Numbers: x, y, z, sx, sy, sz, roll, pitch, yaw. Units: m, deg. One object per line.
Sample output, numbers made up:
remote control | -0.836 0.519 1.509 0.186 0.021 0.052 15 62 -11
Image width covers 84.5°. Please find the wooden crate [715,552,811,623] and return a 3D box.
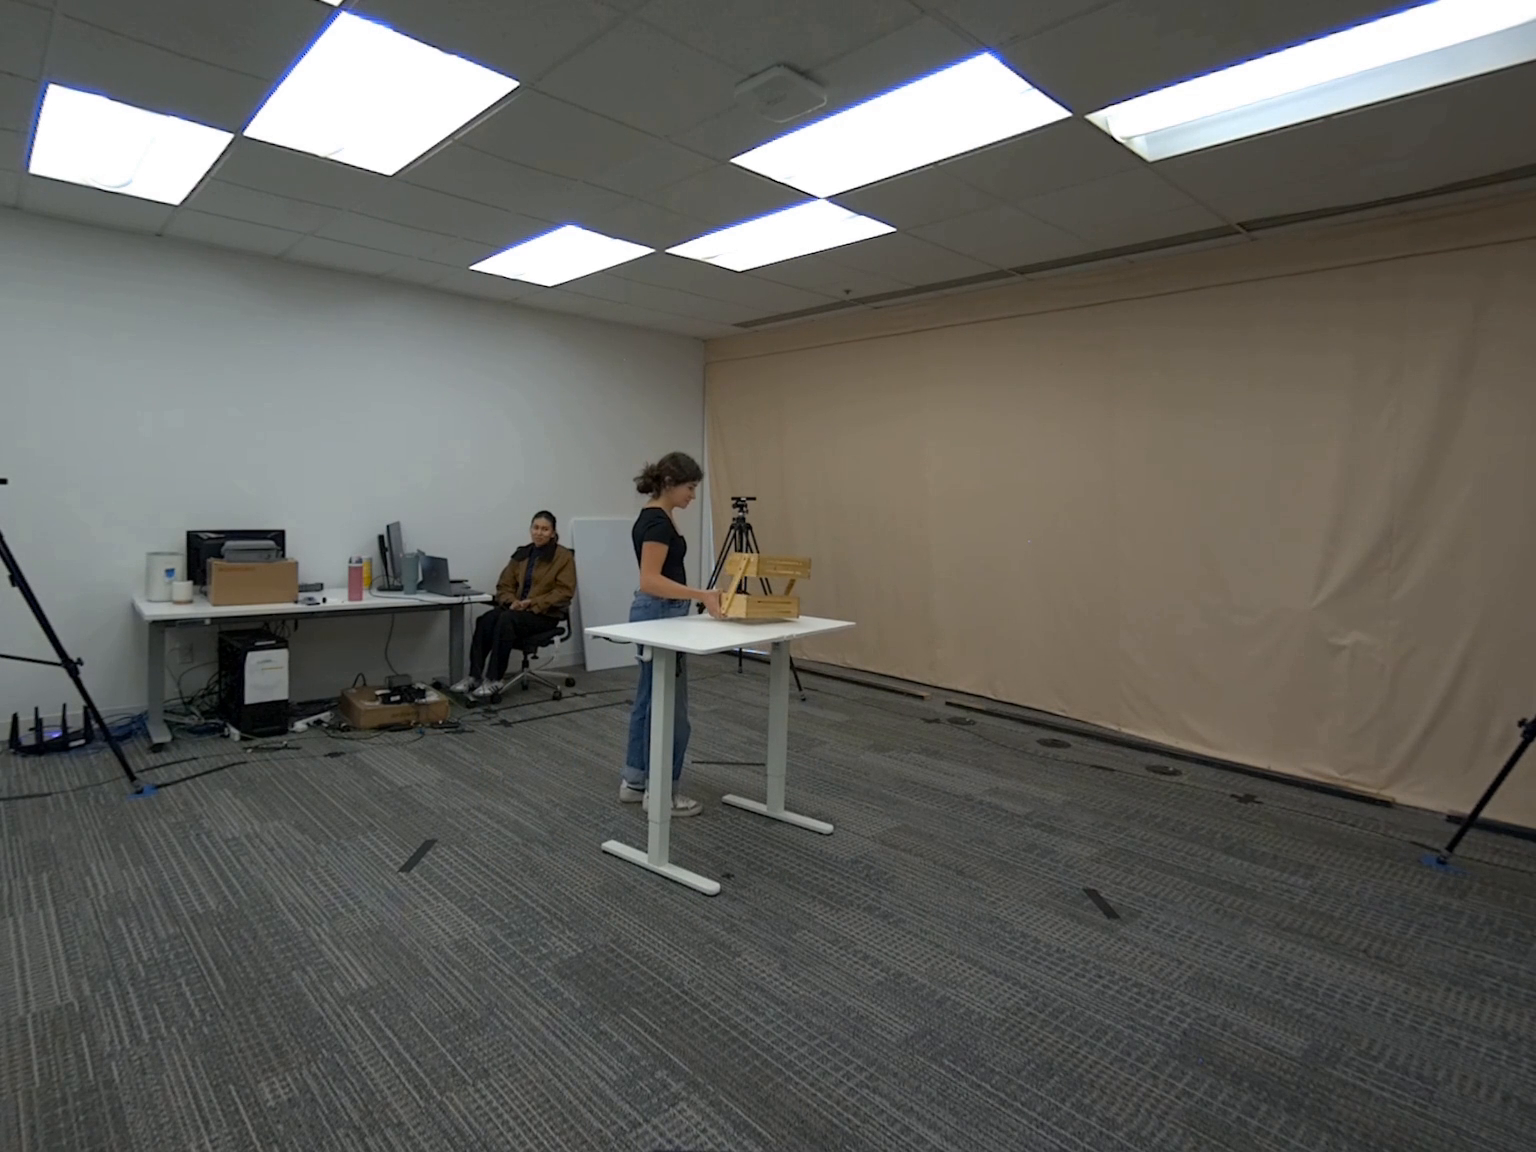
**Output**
wooden crate | -0.045 0.037 3.545 0.316 0.273 0.309 3 0 -40
